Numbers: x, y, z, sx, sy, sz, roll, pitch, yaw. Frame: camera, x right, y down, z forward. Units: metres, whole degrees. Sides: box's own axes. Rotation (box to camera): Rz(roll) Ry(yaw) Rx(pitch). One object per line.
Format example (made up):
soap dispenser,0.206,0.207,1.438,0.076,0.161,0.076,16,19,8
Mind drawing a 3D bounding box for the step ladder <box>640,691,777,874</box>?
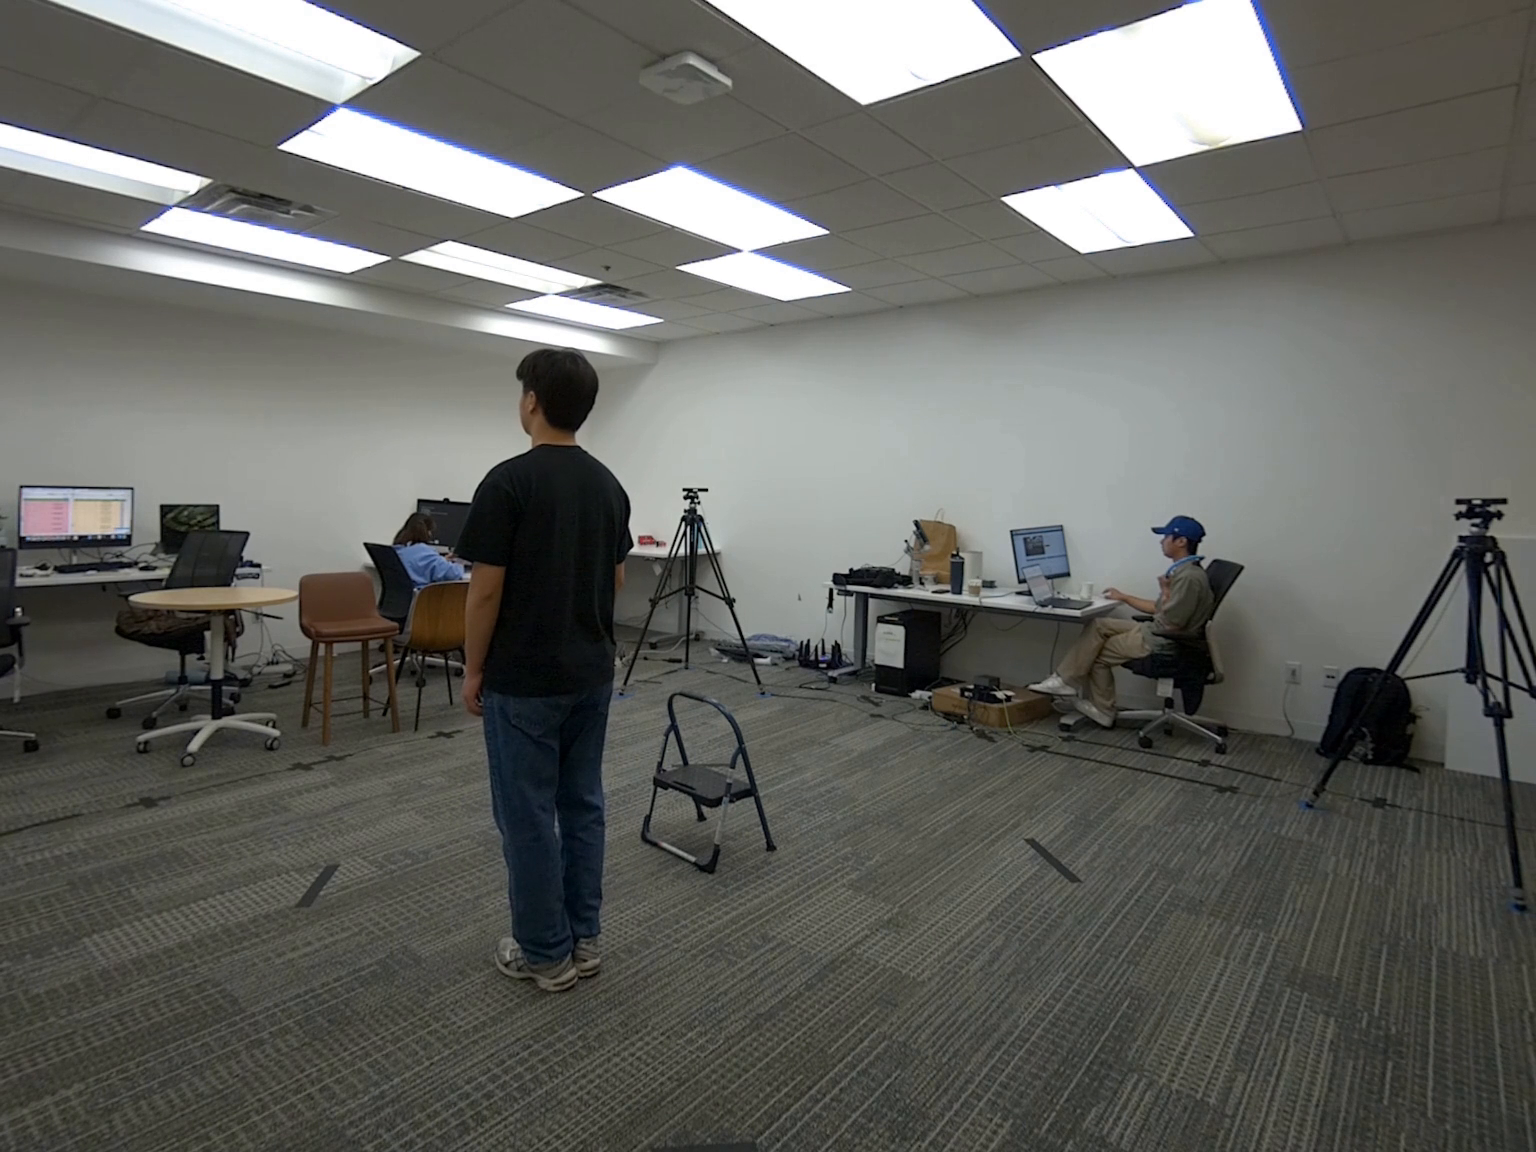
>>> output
step ladder,-0.244,0.742,3.316,0.445,0.604,0.339,4,4,44
